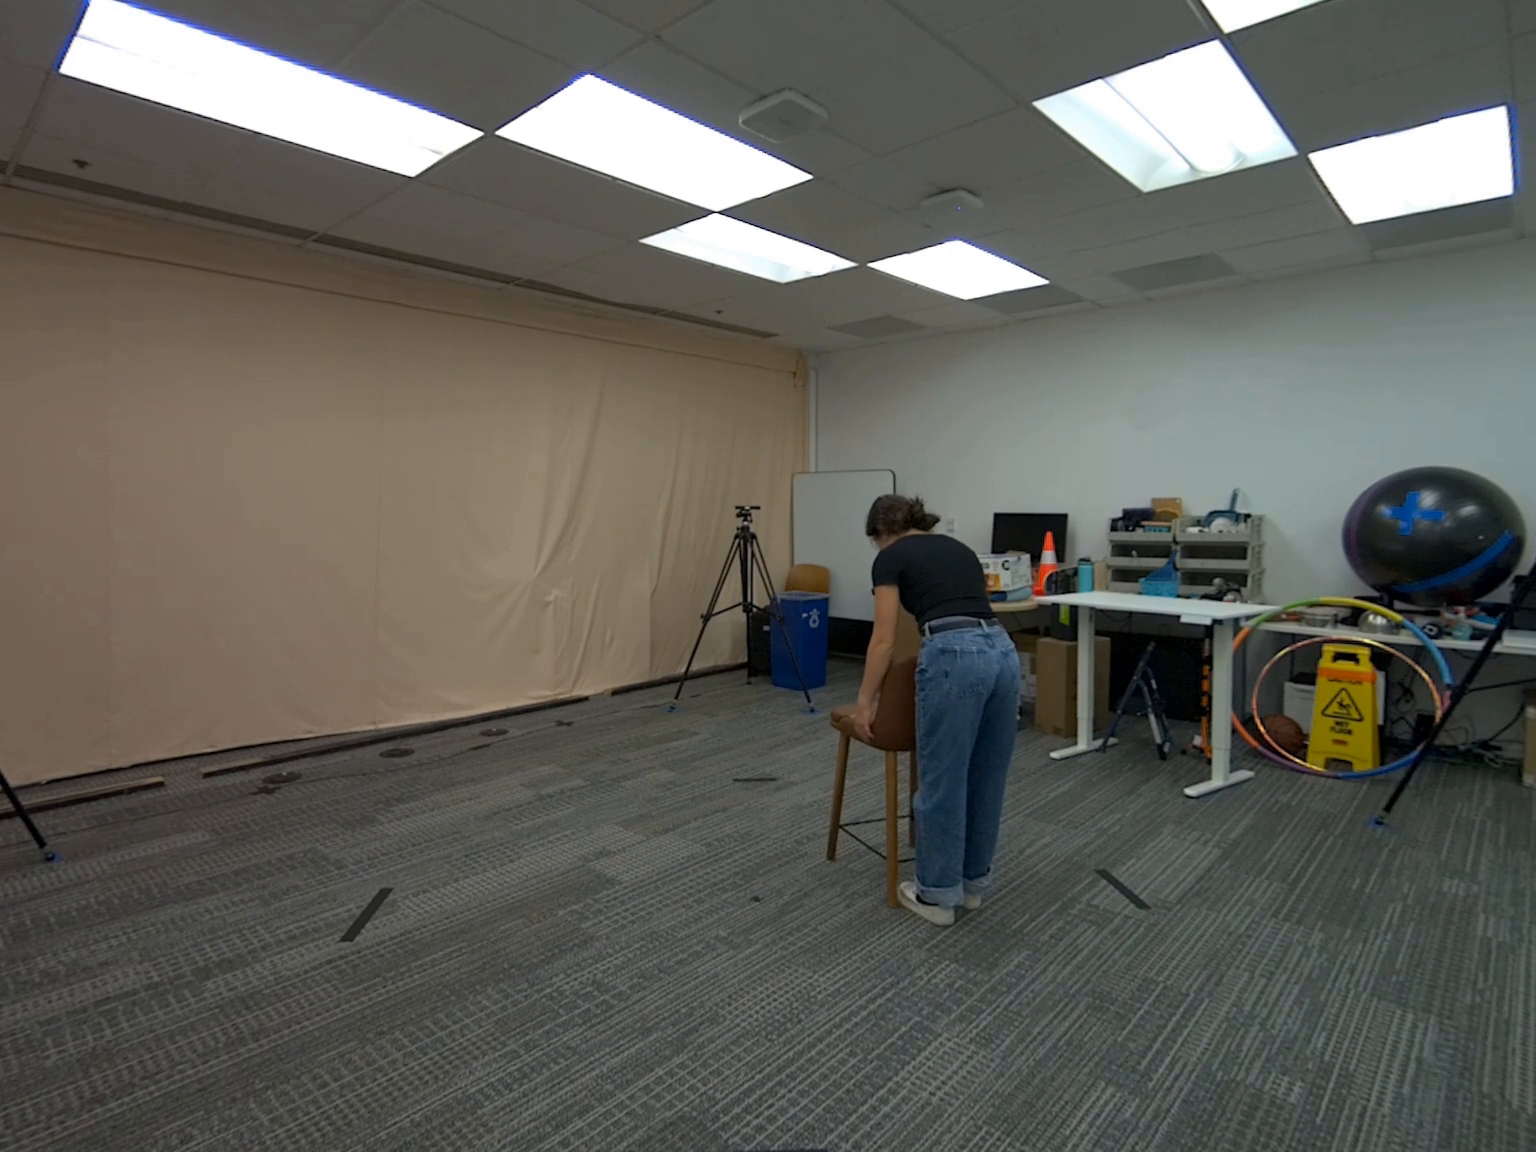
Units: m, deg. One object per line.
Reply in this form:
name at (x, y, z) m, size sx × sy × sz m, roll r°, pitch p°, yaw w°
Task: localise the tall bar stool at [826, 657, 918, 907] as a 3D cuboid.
tall bar stool at (0.513, 0.688, 3.156) m, size 0.446 × 0.887 × 0.479 m, roll -1°, pitch 5°, yaw -23°
